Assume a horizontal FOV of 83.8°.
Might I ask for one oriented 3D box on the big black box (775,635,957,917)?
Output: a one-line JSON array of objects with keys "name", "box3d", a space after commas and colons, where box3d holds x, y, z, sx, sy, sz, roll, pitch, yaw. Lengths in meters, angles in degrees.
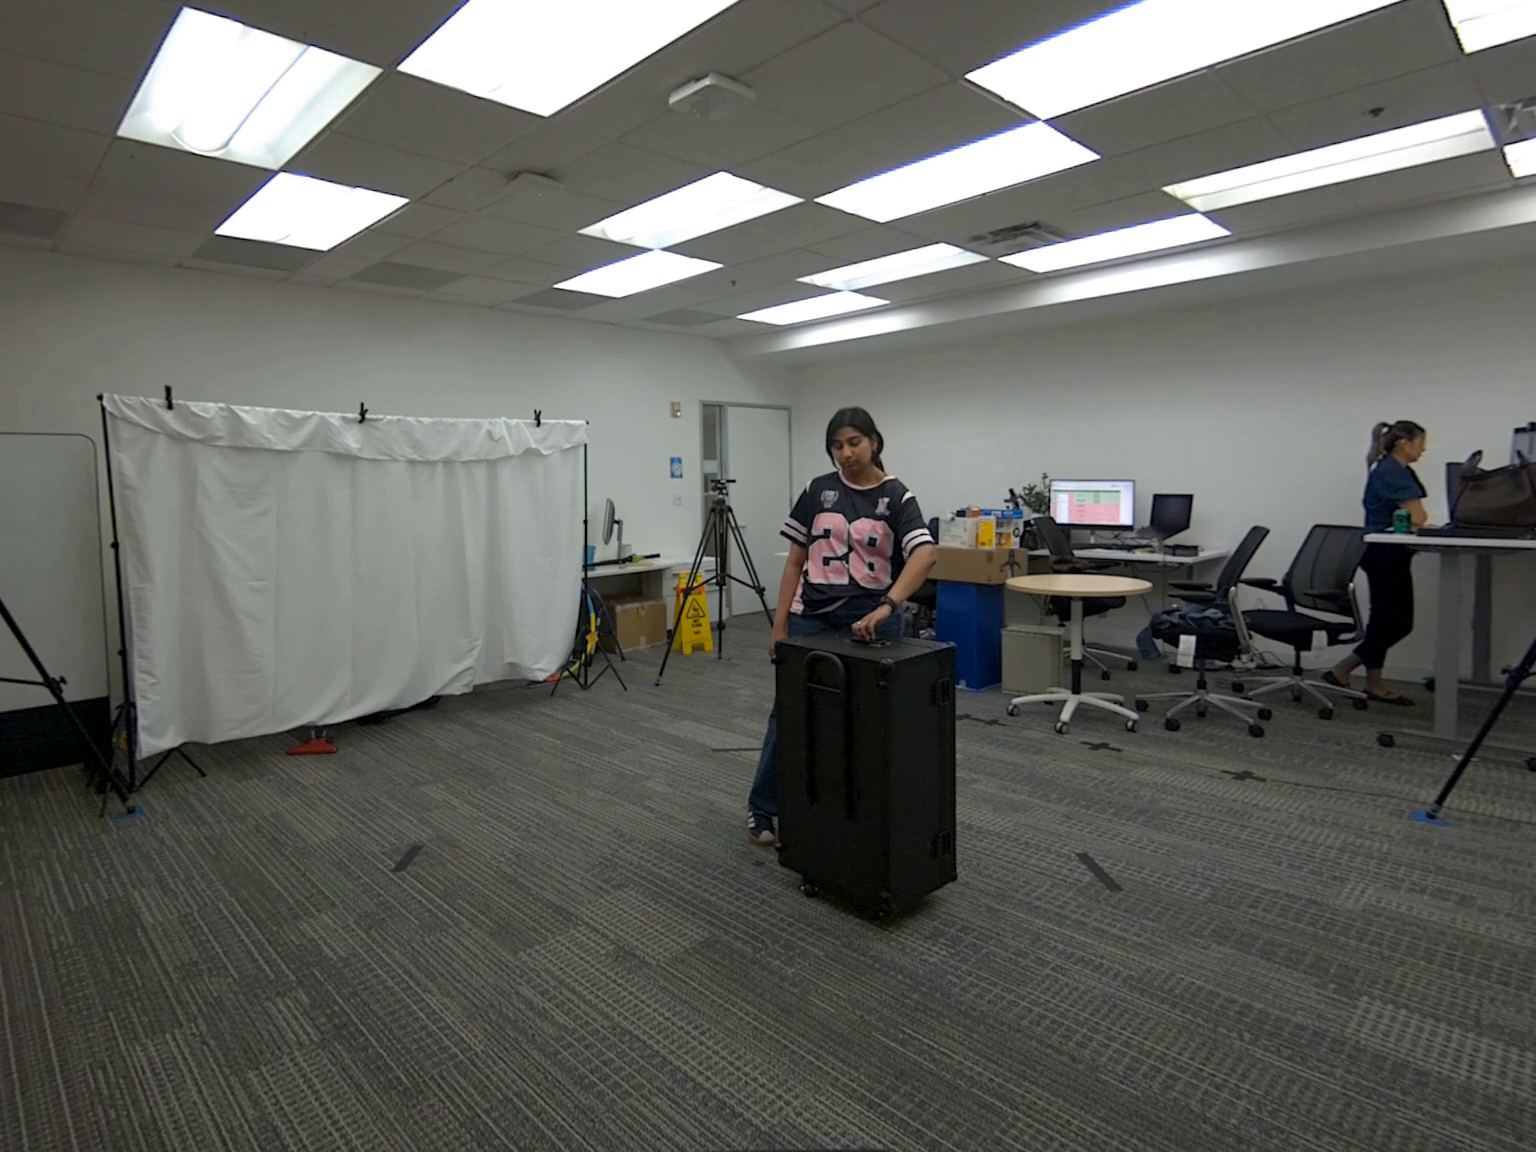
[{"name": "big black box", "box3d": [0.330, 0.651, 2.840, 0.375, 0.865, 0.539, -6, 6, -43]}]
